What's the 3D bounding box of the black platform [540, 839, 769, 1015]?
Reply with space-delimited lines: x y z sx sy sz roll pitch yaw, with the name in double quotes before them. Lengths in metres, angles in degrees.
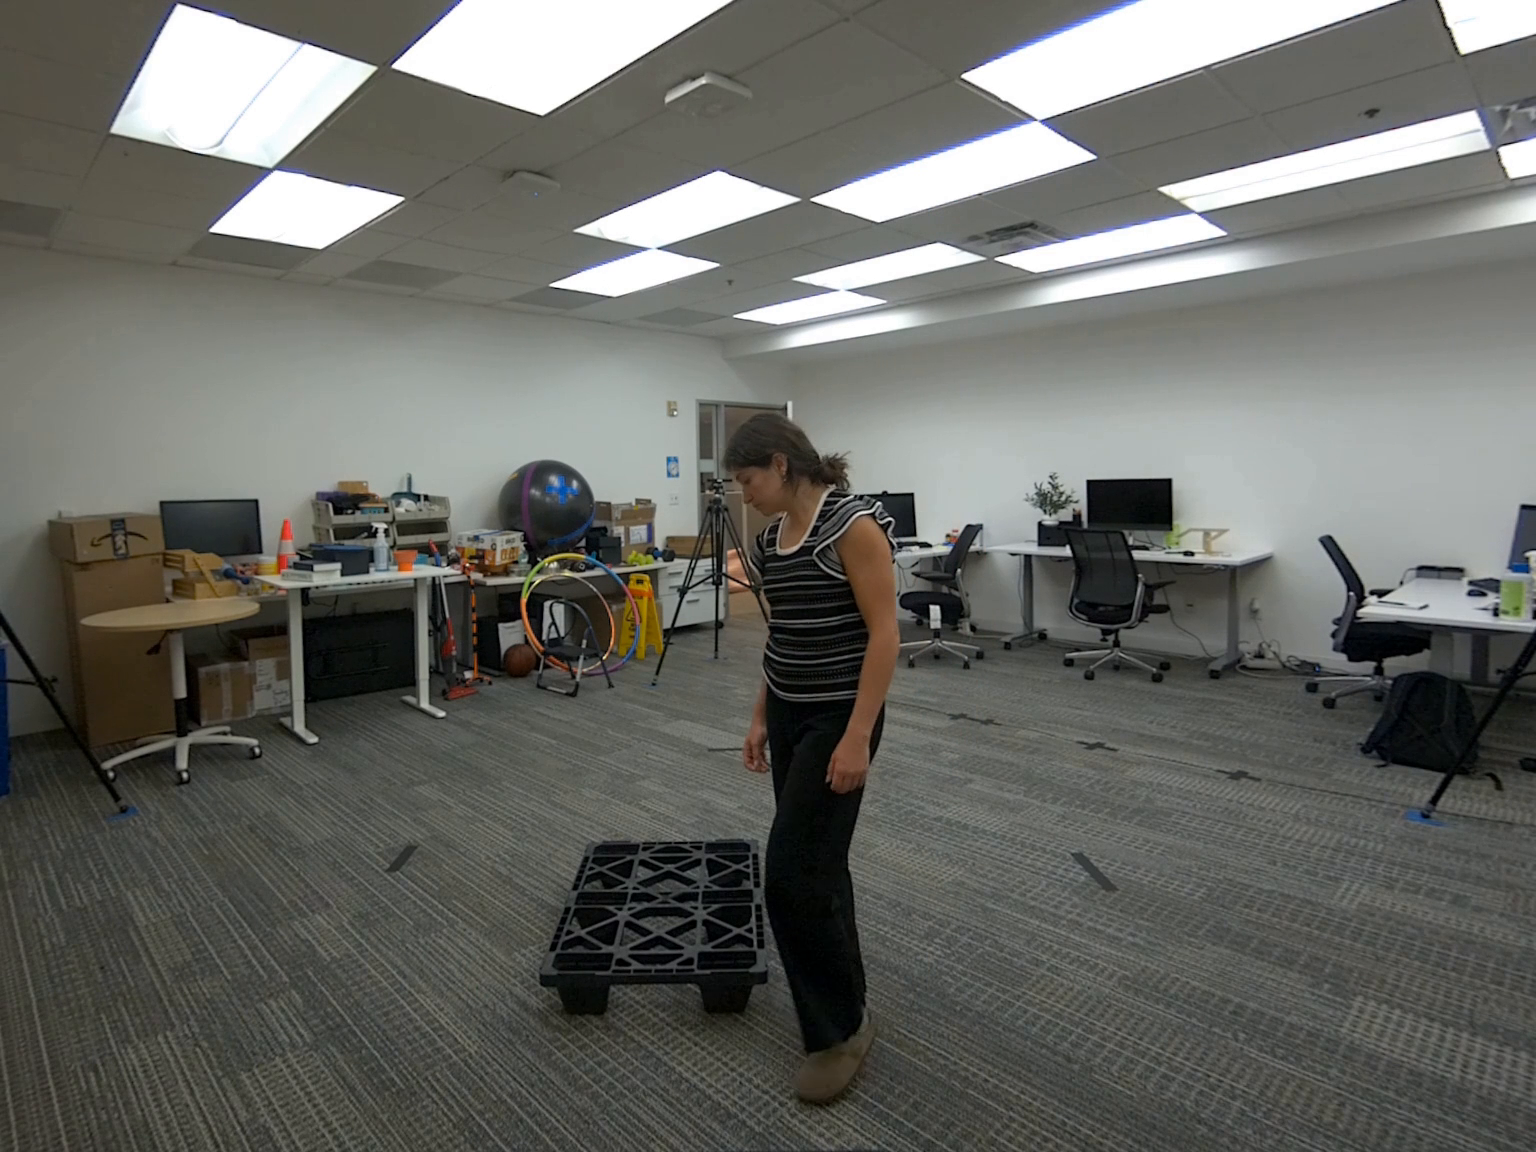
"black platform" -0.312 1.043 2.603 0.605 0.142 0.810 -2 6 -1
